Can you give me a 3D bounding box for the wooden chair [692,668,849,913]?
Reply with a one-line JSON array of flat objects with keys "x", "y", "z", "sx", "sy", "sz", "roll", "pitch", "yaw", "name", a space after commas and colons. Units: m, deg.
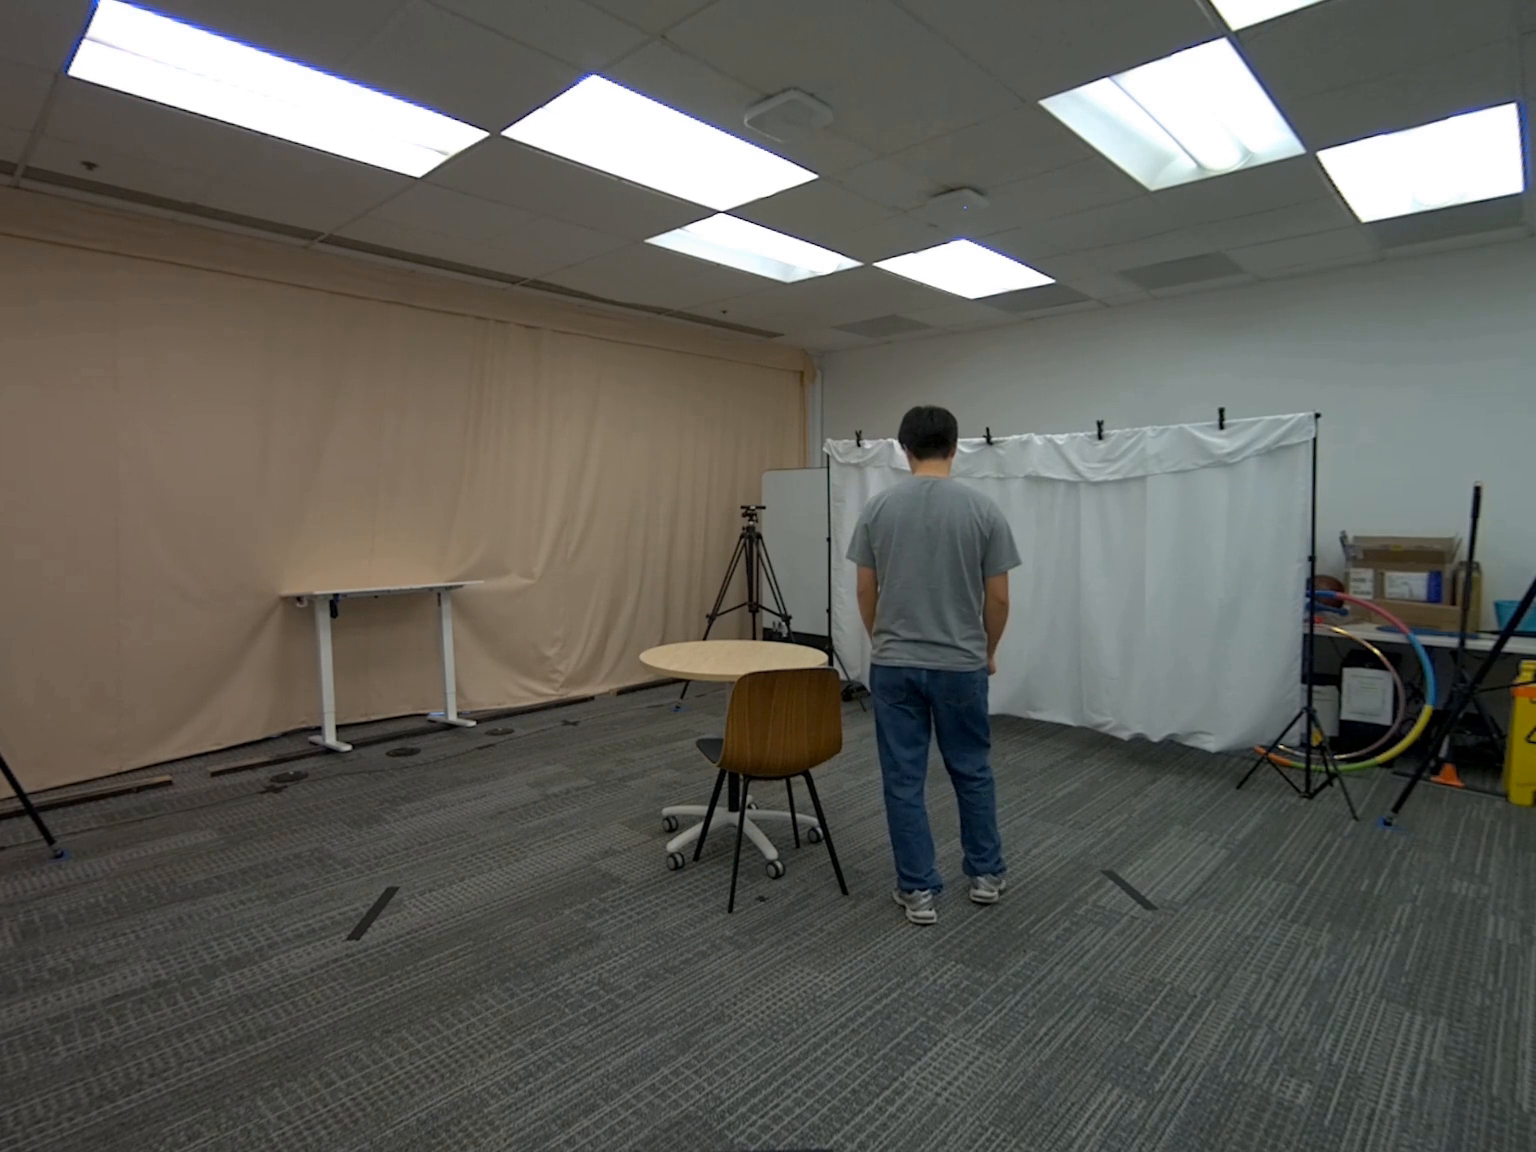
[{"x": -0.003, "y": 0.704, "z": 3.126, "sx": 0.469, "sy": 0.873, "sz": 0.536, "roll": -2, "pitch": 8, "yaw": -20, "name": "wooden chair"}]
